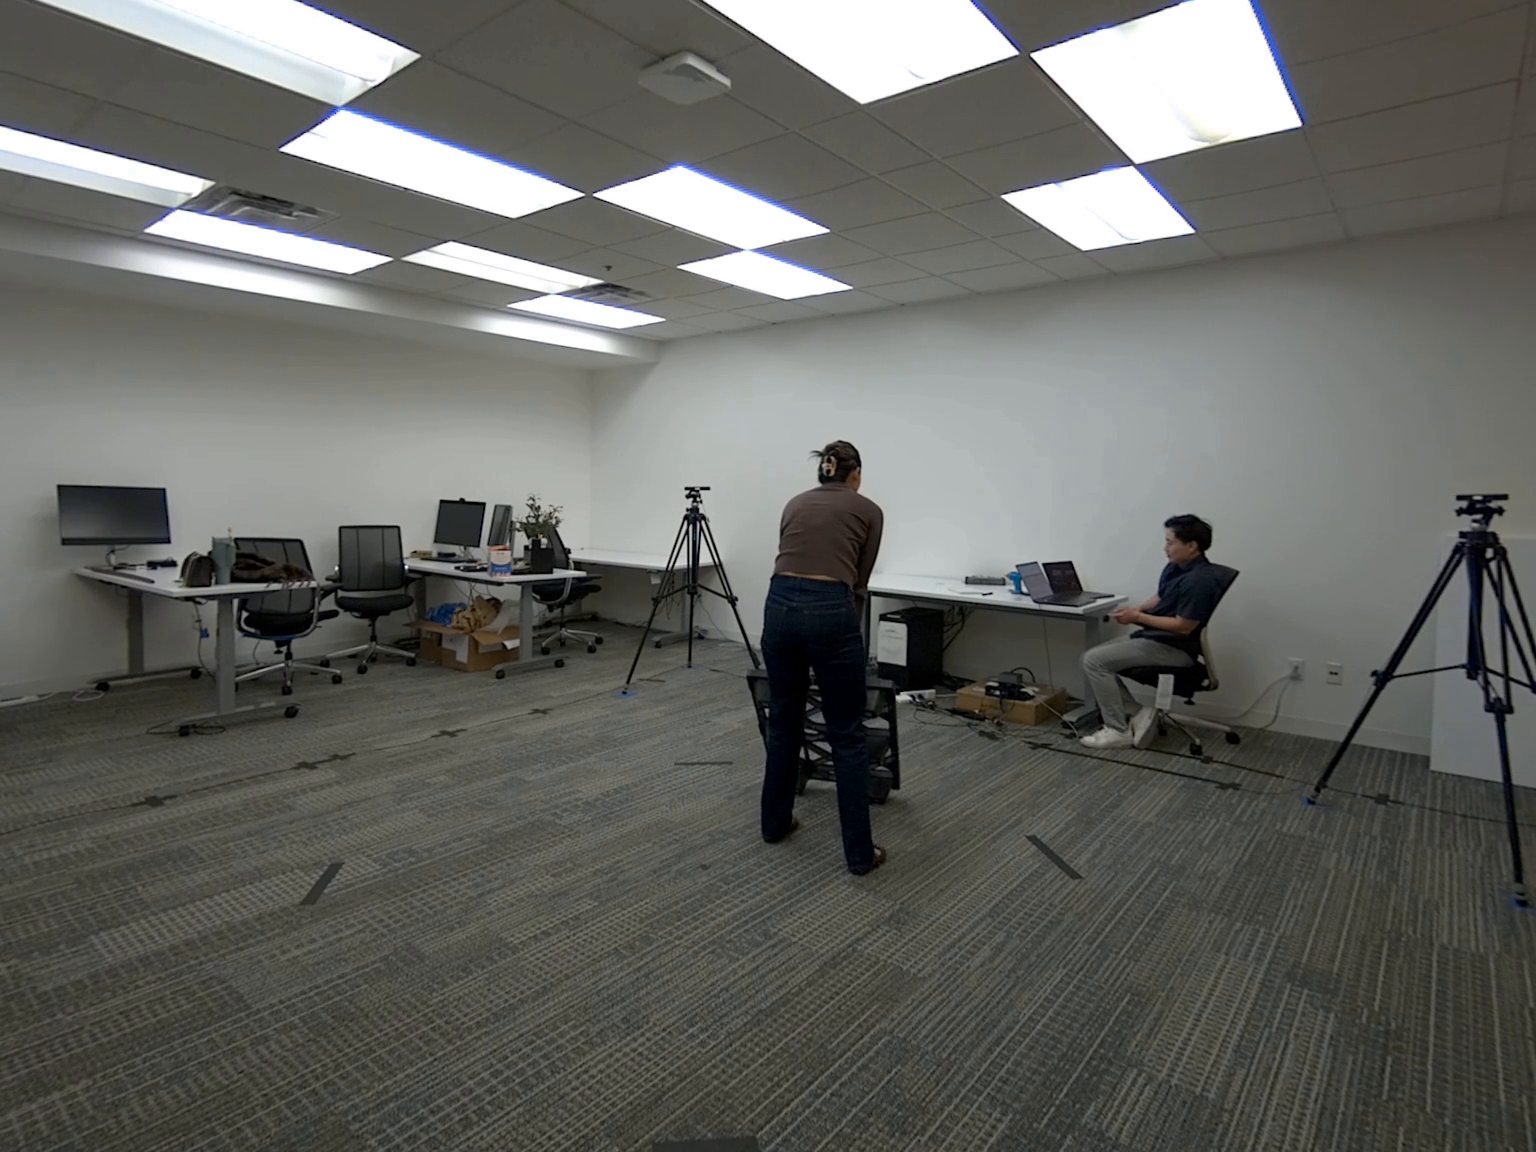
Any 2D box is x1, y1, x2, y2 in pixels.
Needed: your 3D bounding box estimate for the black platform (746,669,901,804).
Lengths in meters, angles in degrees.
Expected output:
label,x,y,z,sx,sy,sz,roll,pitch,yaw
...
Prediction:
label,x,y,z,sx,sy,sz,roll,pitch,yaw
black platform,0.235,0.705,3.640,0.615,0.778,0.146,2,46,14
